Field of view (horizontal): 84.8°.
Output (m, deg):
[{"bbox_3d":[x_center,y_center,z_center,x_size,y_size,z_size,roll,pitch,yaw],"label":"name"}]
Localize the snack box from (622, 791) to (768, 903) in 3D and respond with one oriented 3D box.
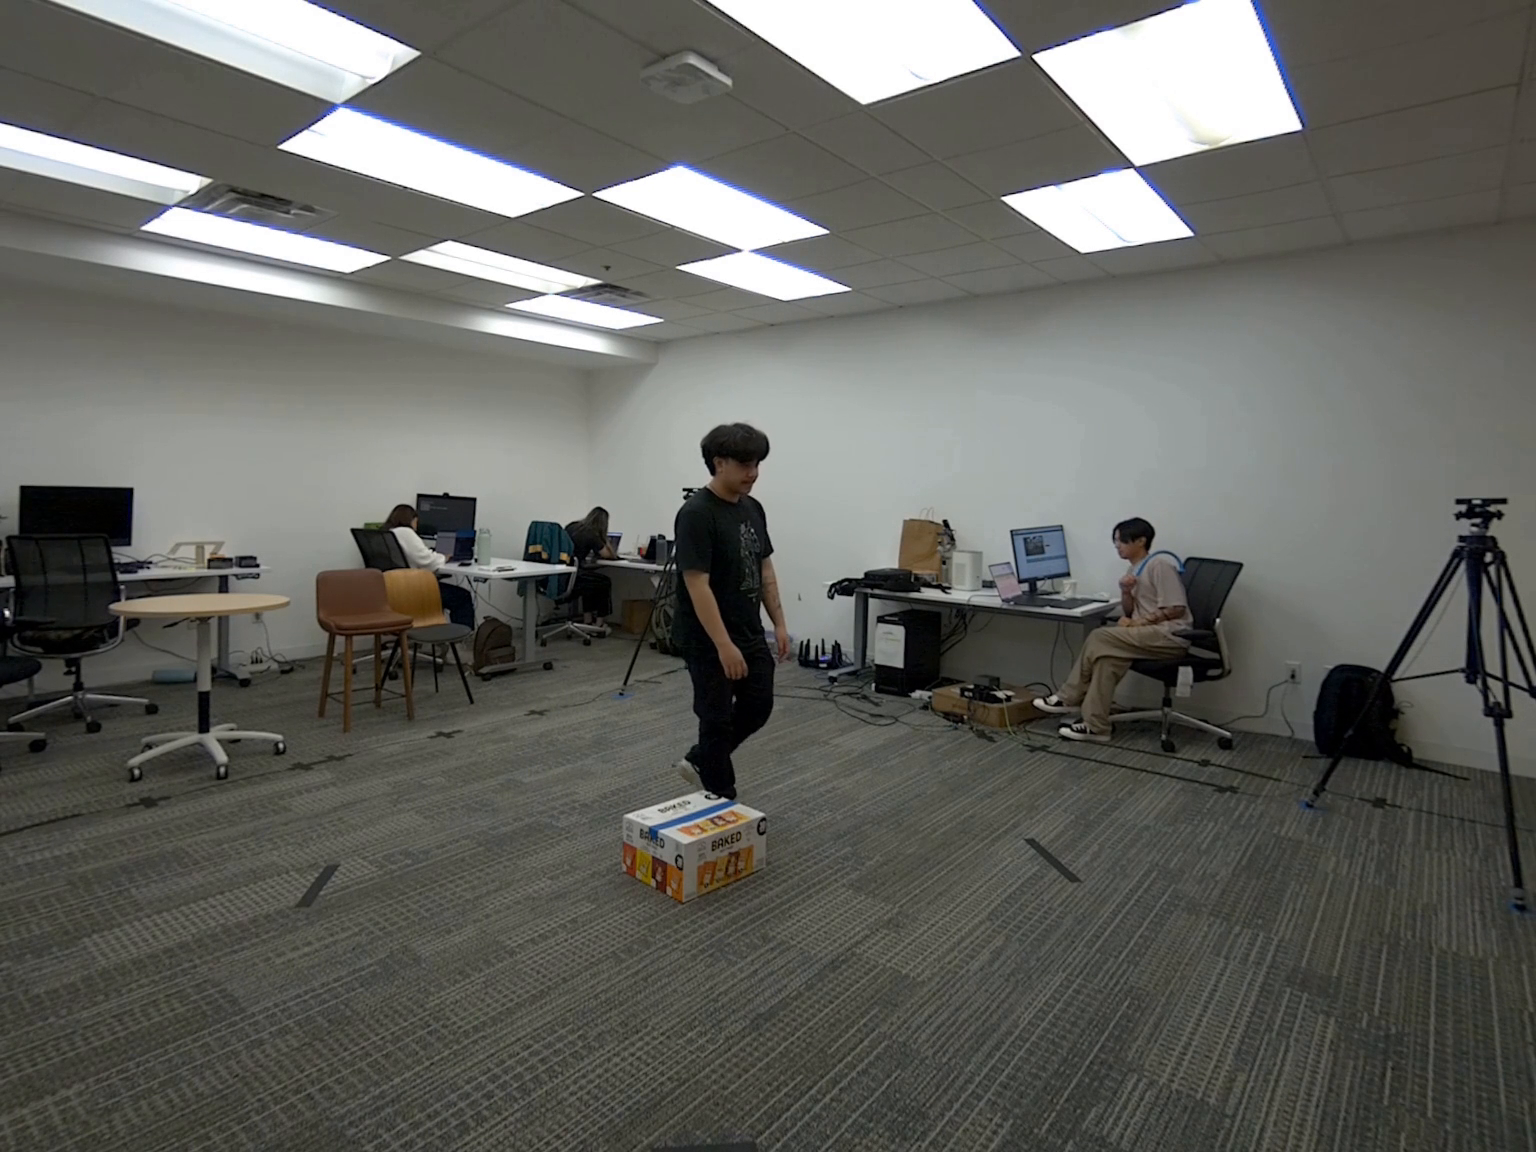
[{"bbox_3d":[-0.277,0.969,3.096,0.352,0.205,0.393,6,7,44],"label":"snack box"}]
